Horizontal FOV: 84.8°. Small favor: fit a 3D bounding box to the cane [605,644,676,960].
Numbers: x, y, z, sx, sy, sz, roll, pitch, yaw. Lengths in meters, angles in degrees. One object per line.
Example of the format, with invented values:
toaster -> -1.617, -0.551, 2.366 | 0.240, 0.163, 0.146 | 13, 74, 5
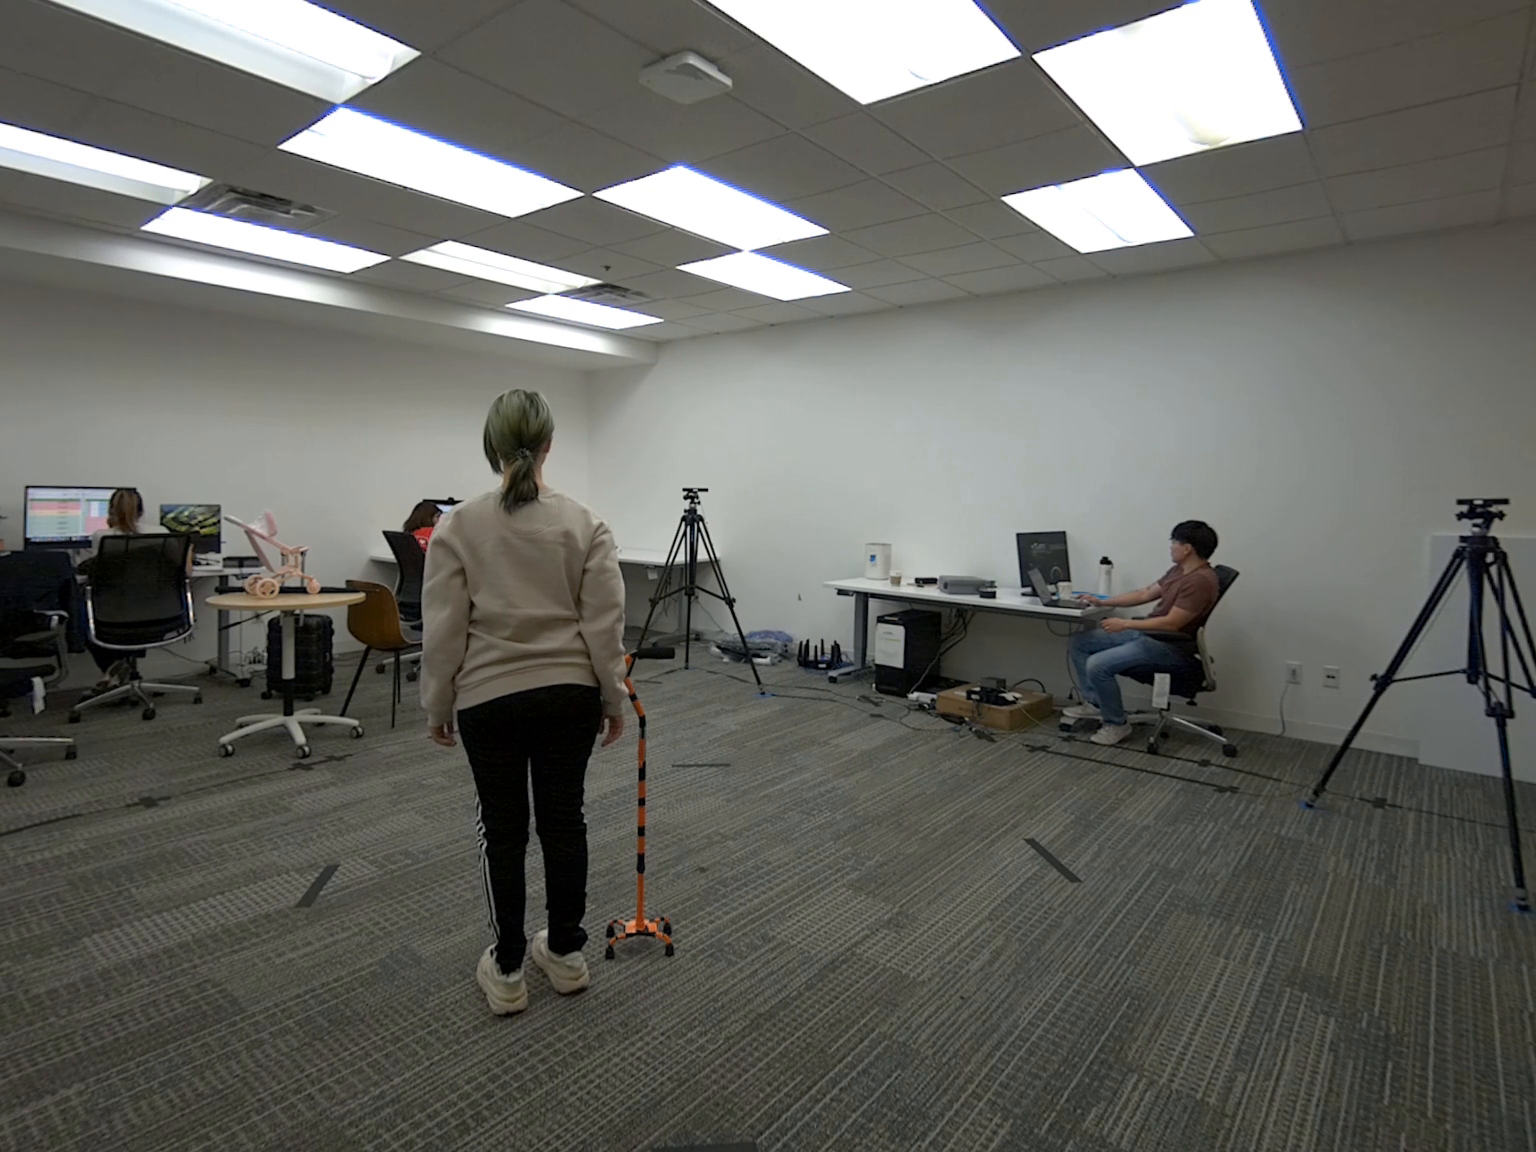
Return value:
cane -> -0.389, 0.668, 2.558 | 0.205, 0.905, 0.153 | 0, 4, -8
